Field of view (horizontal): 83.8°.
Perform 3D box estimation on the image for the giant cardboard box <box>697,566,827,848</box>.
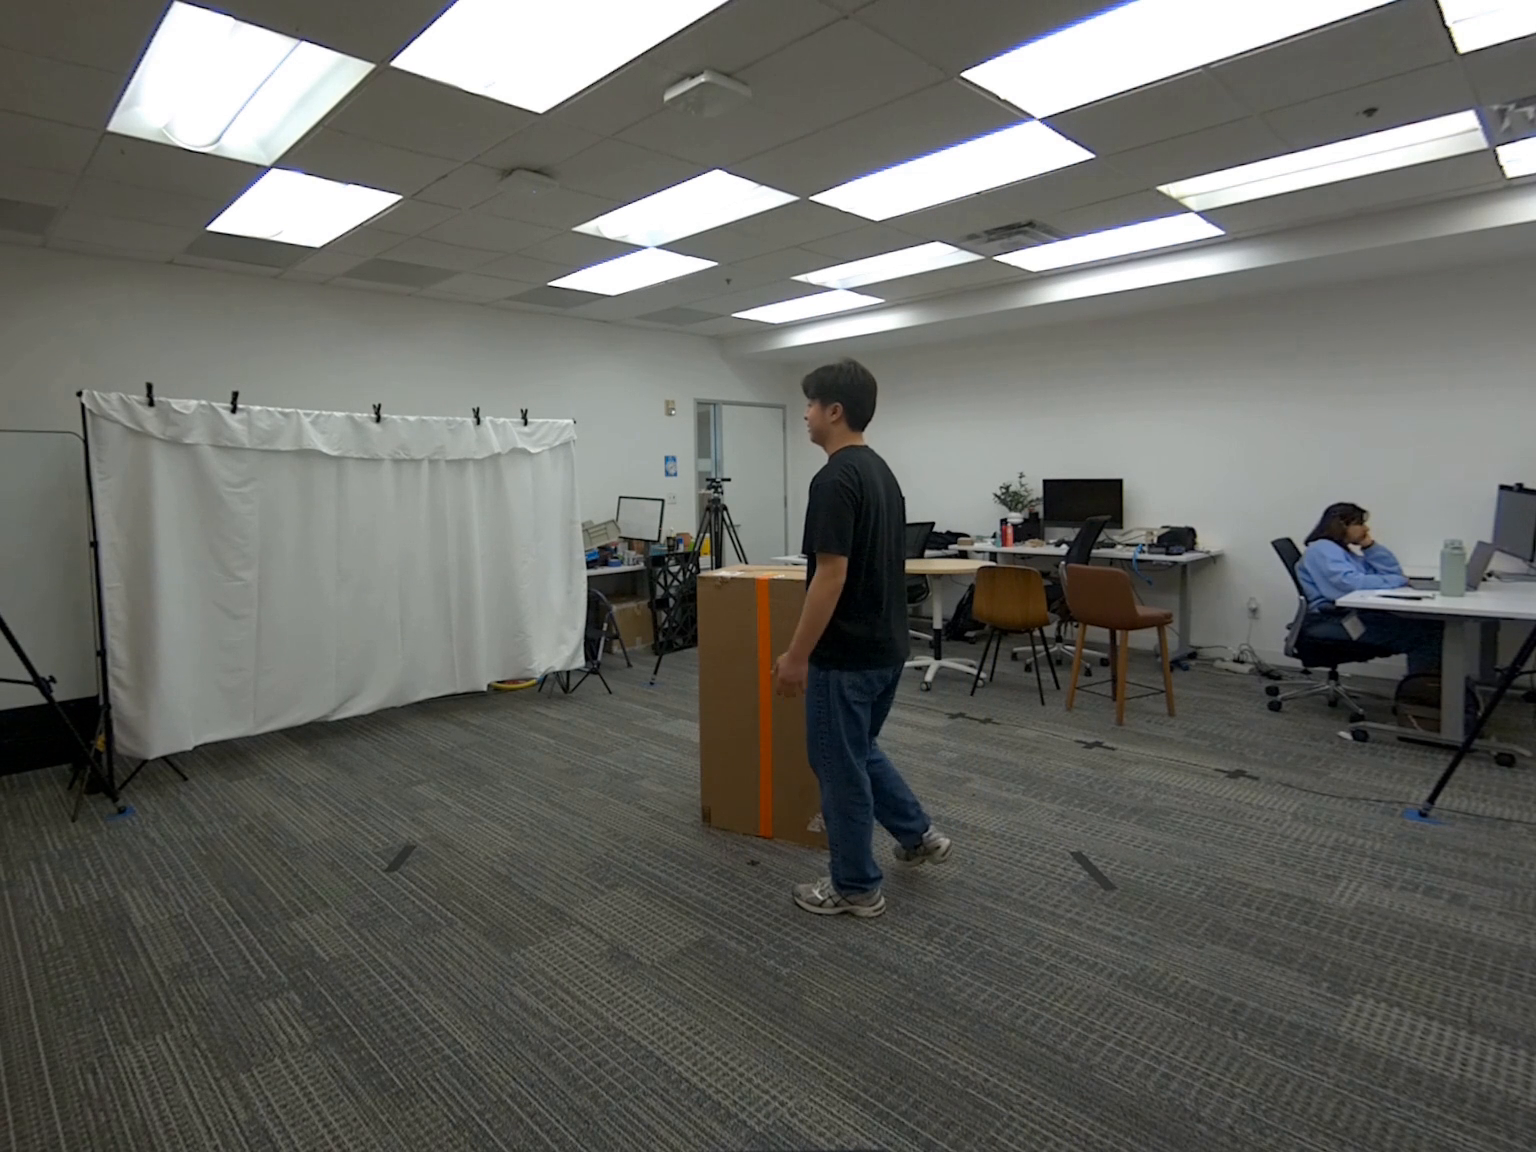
[{"bbox_3d":[0.069,0.485,3.472,0.598,1.022,0.438,2,6,27],"label":"giant cardboard box"}]
